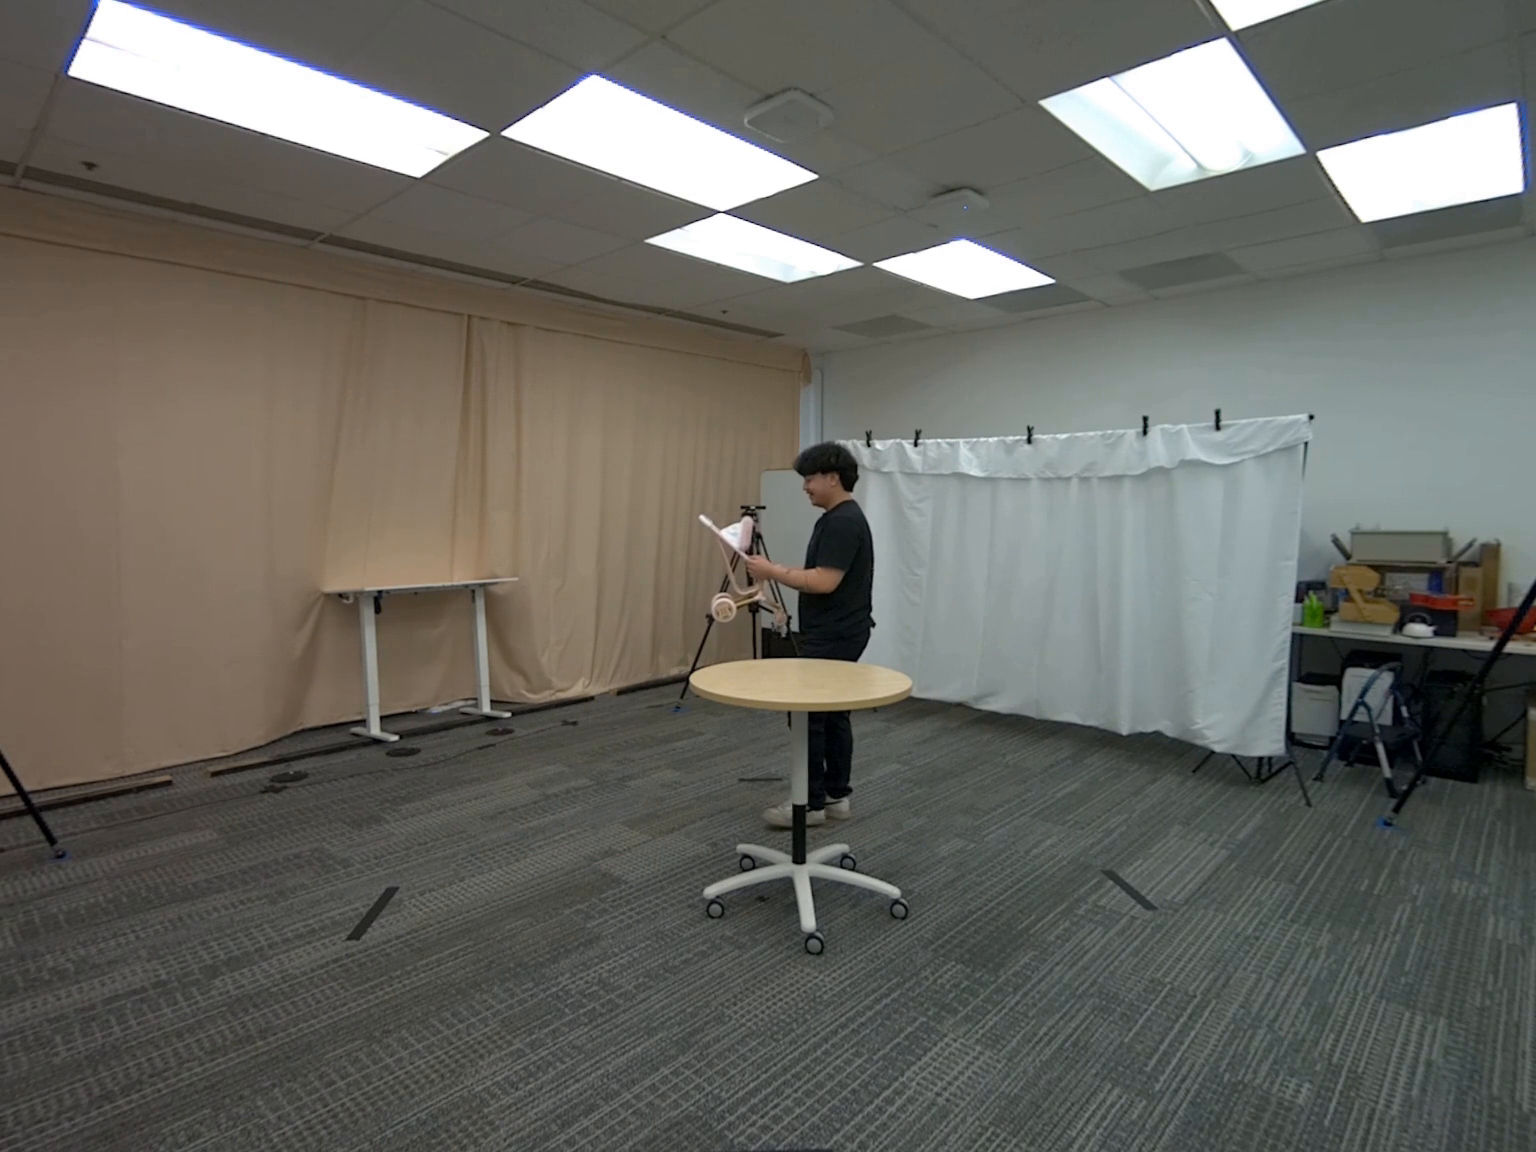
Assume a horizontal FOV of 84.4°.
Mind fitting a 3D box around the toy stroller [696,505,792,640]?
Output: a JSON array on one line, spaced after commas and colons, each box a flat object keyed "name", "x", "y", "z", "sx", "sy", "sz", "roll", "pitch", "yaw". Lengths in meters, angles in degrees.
[{"name": "toy stroller", "x": -0.104, "y": -0.024, "z": 3.762, "sx": 0.343, "sy": 0.534, "sz": 0.280, "roll": -7, "pitch": 2, "yaw": 4}]
